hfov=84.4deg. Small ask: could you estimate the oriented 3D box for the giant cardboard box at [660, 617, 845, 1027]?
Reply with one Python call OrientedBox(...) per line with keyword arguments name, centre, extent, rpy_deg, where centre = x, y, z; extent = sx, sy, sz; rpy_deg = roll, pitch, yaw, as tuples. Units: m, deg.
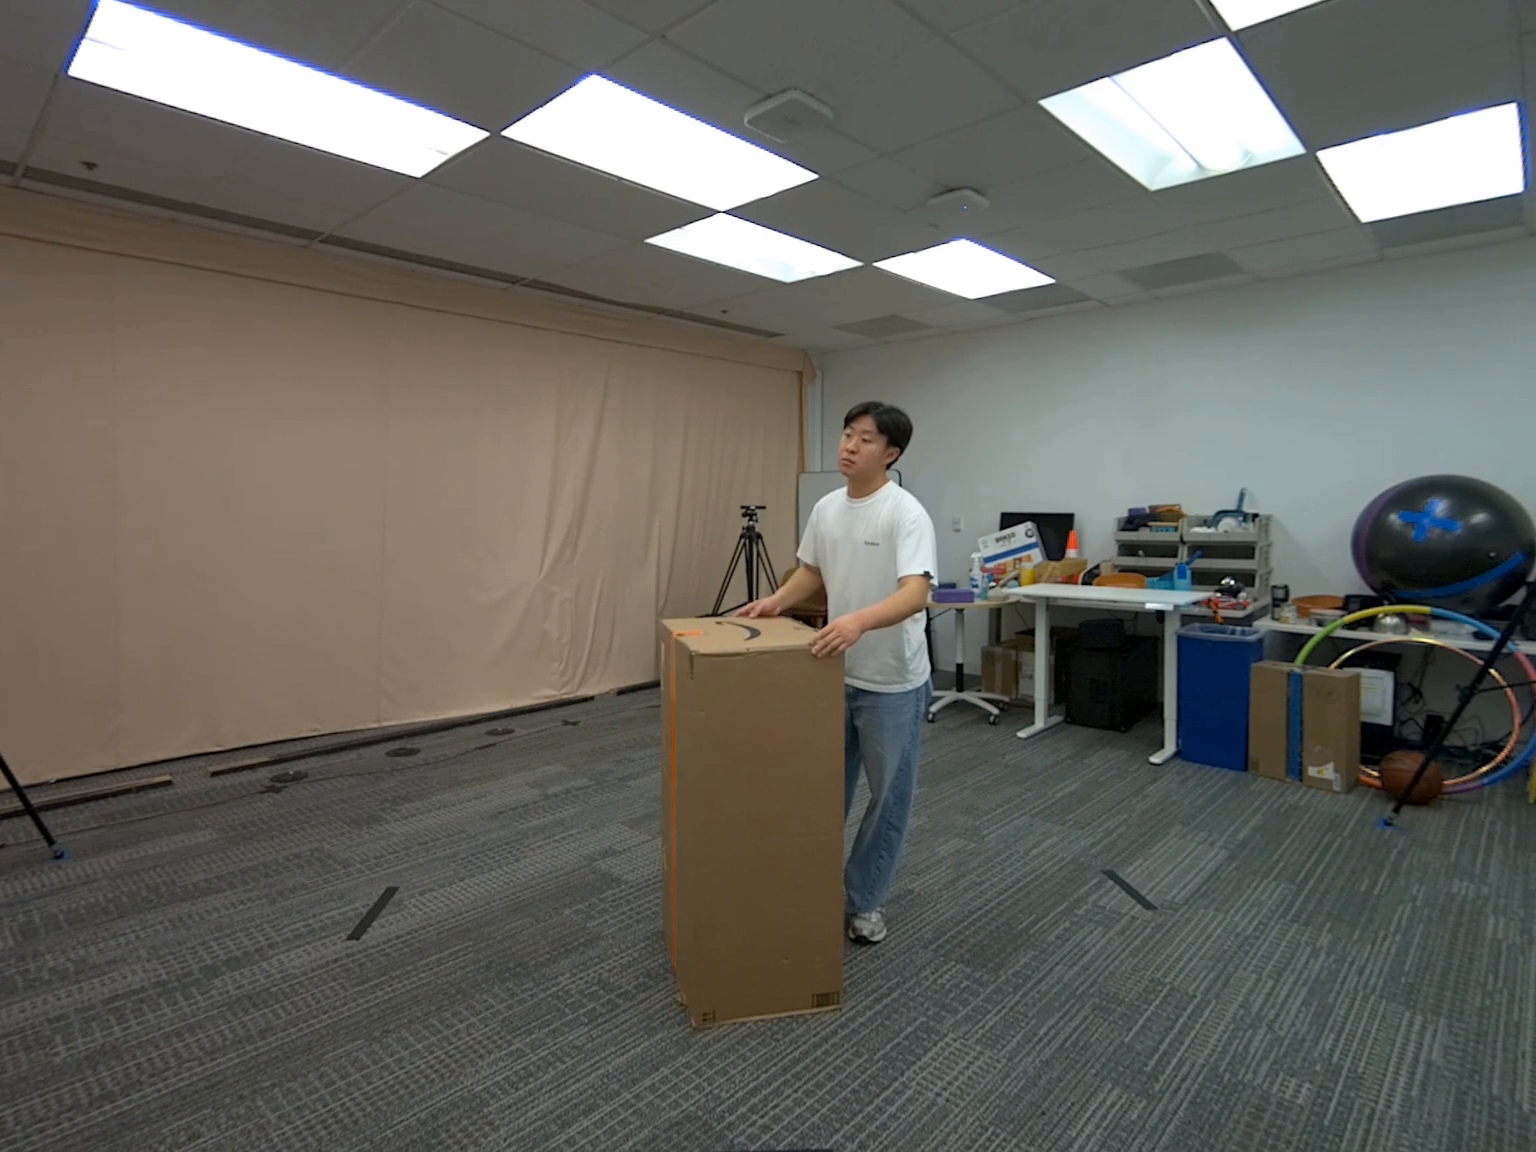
OrientedBox(name="giant cardboard box", centre=(-0.072, 0.673, 2.524), extent=(0.420, 1.024, 0.587), rpy_deg=(-1, 3, -15))
